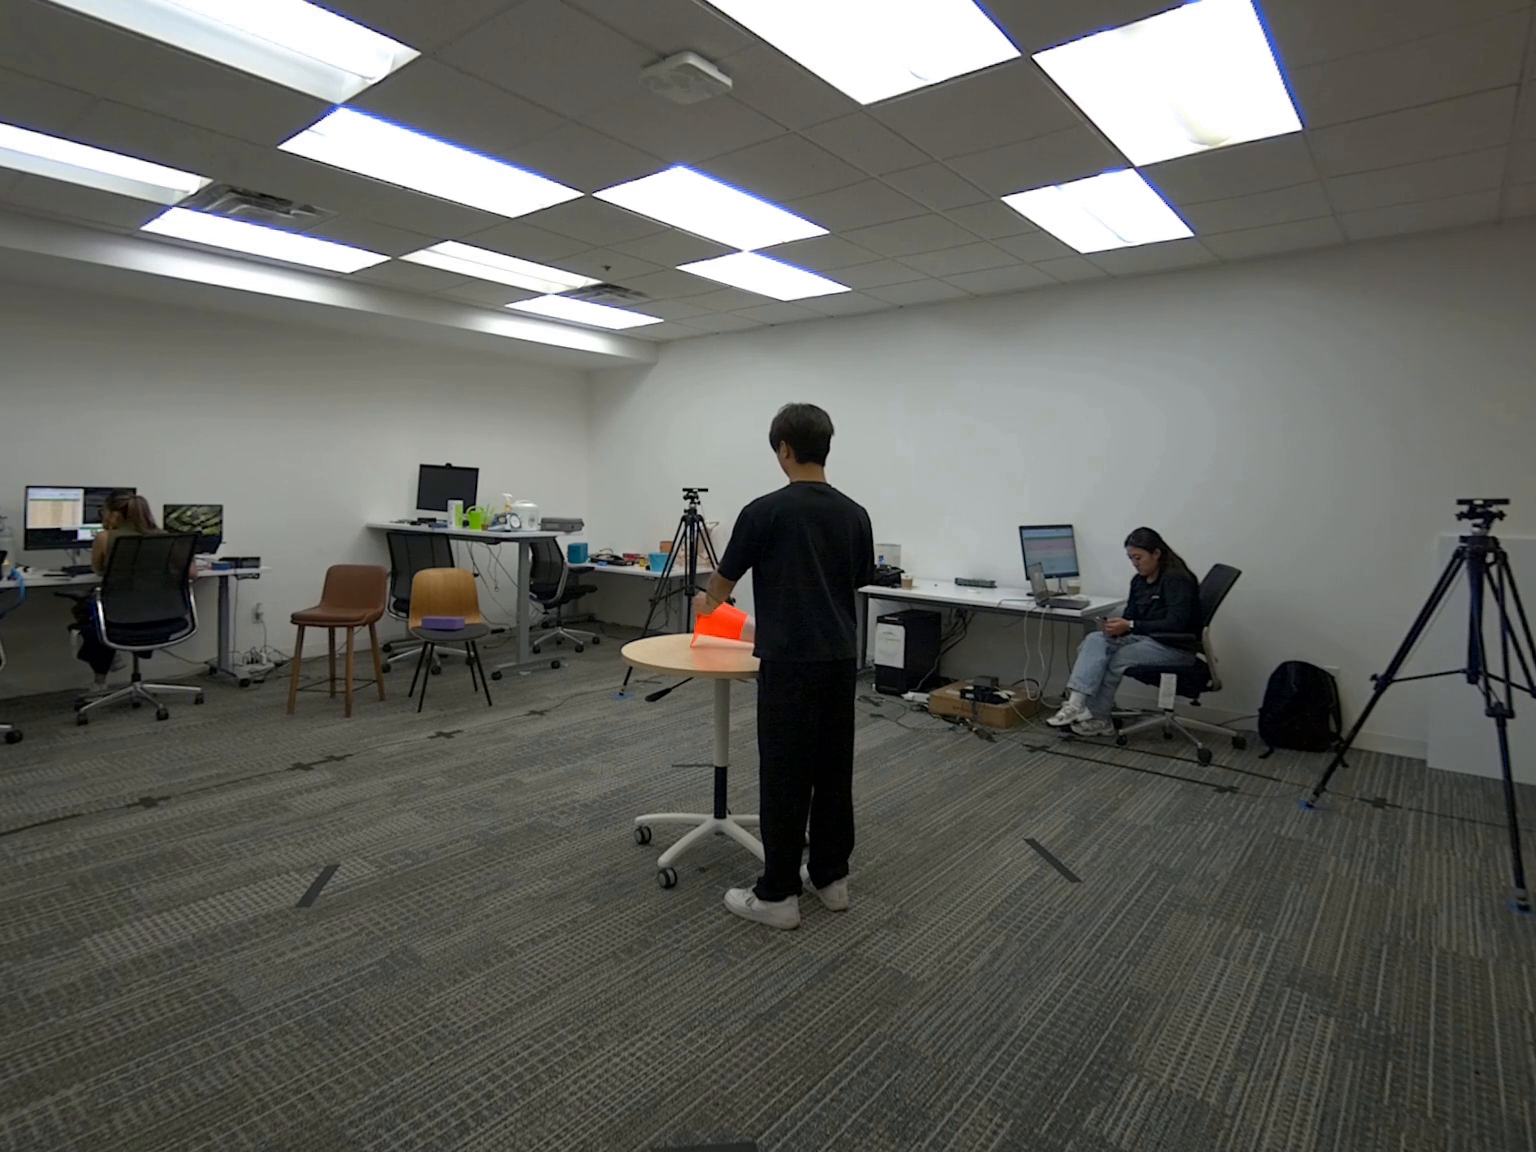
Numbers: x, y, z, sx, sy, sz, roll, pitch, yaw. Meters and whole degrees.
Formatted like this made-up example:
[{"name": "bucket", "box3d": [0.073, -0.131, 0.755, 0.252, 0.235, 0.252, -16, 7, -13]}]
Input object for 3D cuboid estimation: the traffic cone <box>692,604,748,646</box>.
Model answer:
[{"name": "traffic cone", "box3d": [-0.079, 0.207, 3.261, 0.388, 0.199, 0.207, 19, 39, 8]}]
